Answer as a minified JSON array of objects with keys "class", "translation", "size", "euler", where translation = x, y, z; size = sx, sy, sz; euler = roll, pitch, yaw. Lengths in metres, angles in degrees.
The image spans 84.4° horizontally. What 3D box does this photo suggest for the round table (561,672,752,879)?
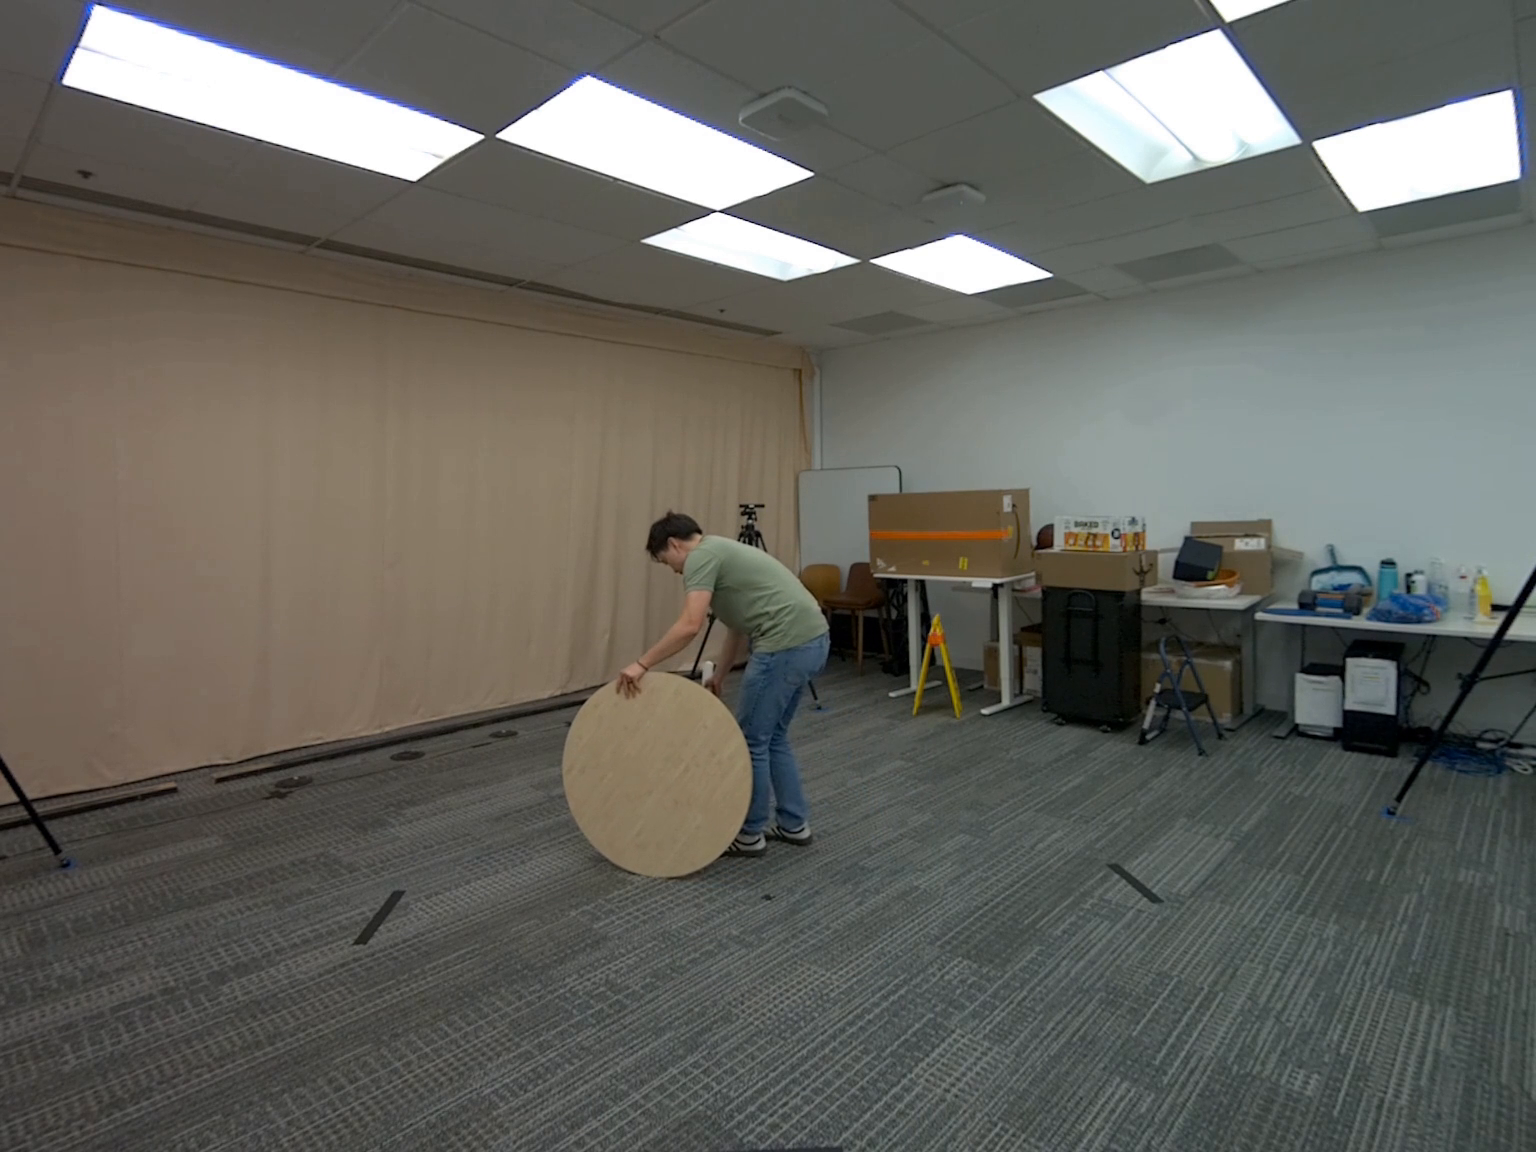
[{"class":"round table","translation":[-0.339,0.754,3.560],"size":[0.778,0.765,0.779],"euler":[0,-2,16]}]
